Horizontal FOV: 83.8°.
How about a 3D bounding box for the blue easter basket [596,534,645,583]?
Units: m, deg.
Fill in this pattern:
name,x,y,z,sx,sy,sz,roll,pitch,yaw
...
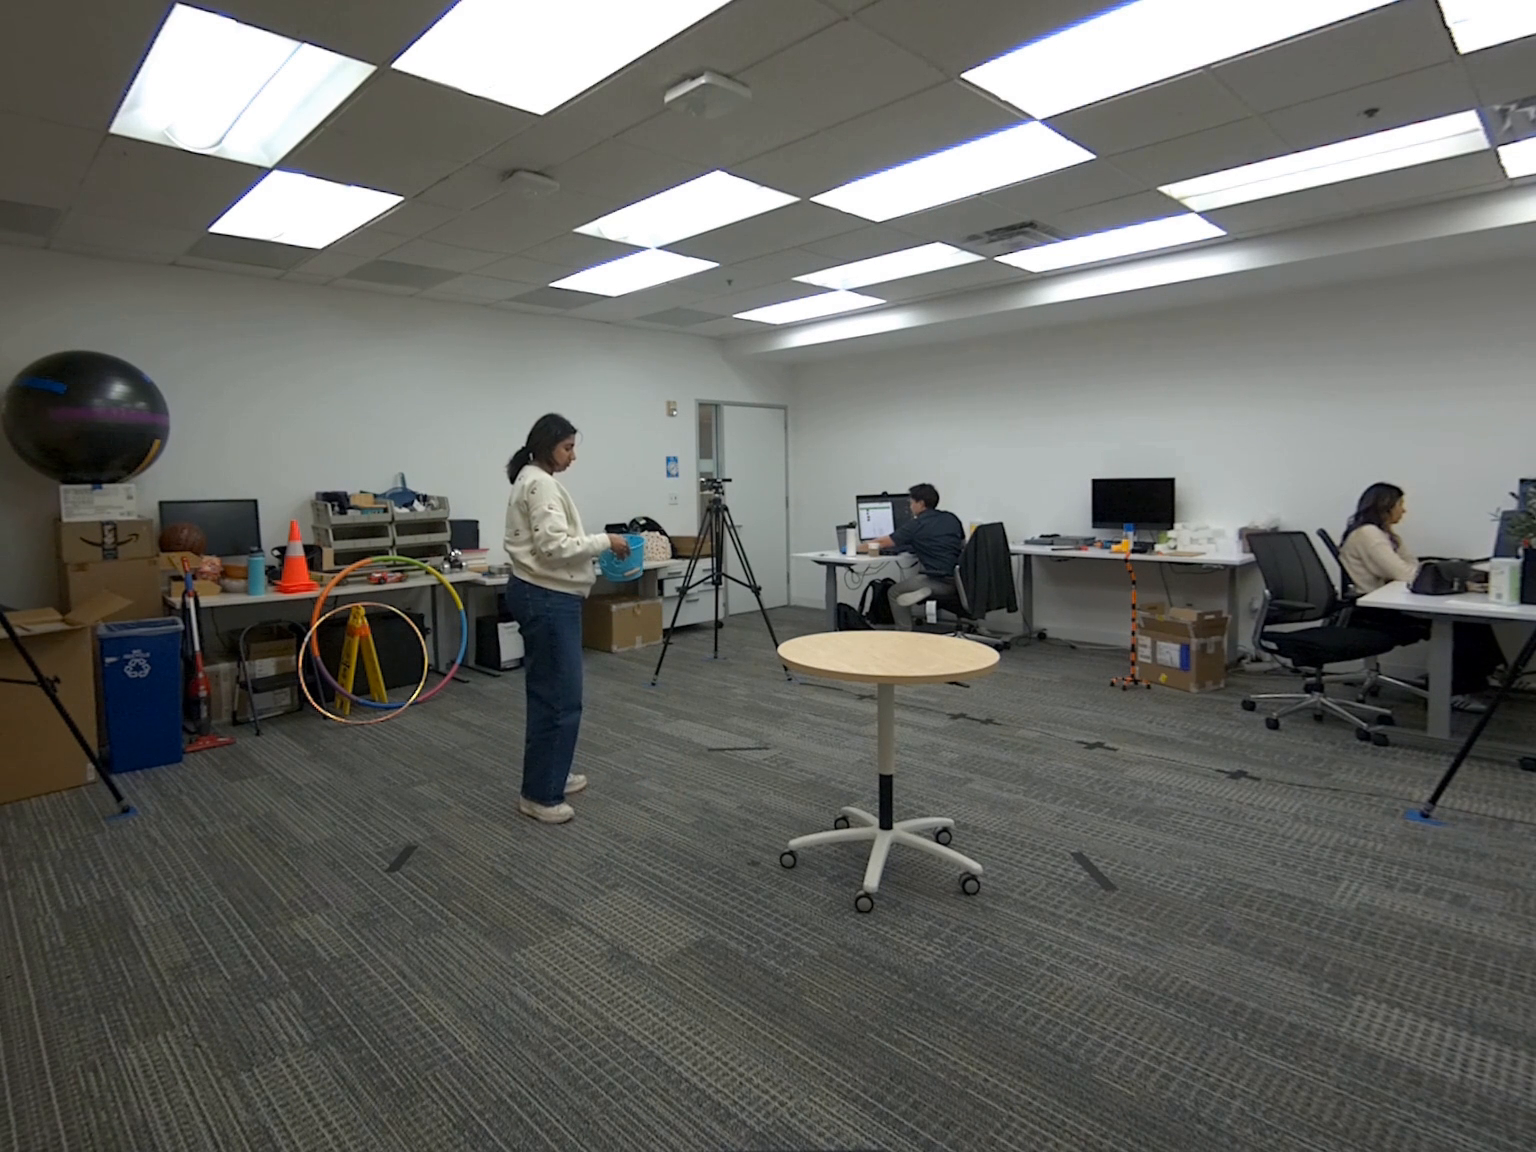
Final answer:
name,x,y,z,sx,sy,sz,roll,pitch,yaw
blue easter basket,-0.672,-0.069,3.818,0.244,0.154,0.247,-5,14,-1
